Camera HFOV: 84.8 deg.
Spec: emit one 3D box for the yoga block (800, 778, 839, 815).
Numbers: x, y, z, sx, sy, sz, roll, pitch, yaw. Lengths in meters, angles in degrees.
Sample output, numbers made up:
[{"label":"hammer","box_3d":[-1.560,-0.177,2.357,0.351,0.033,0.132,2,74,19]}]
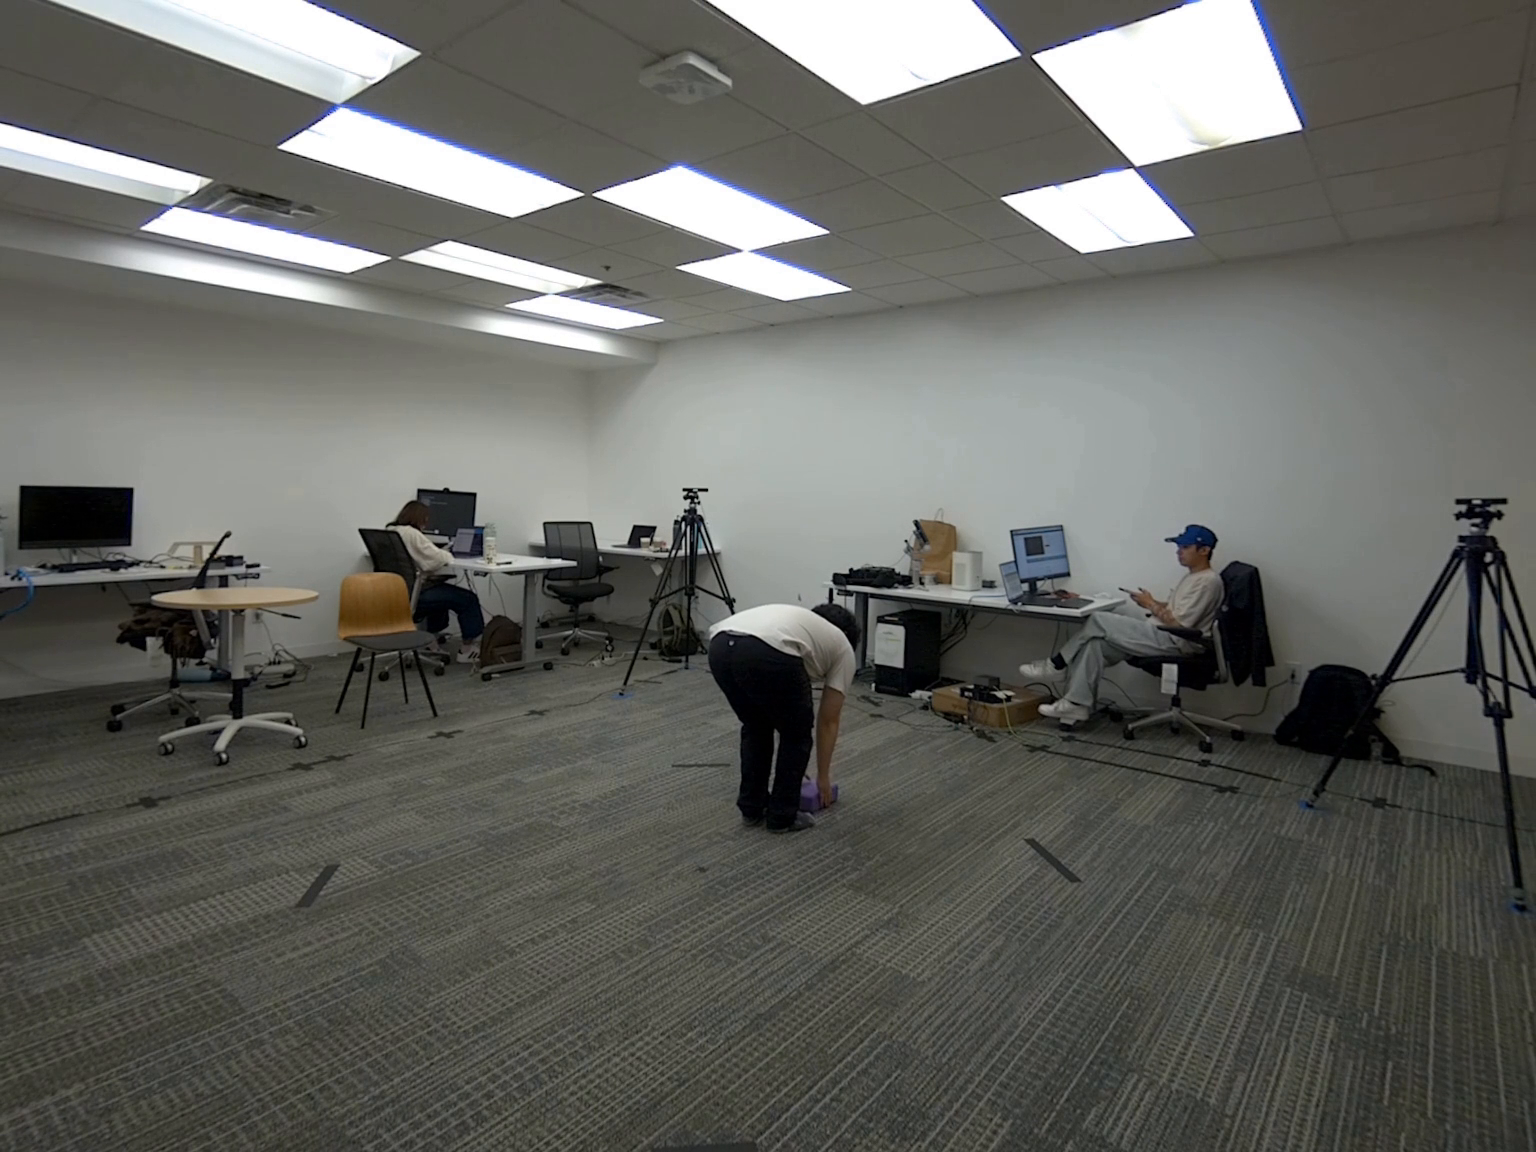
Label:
[{"label":"yoga block","box_3d":[0.185,0.969,3.792,0.154,0.076,0.222,3,4,36]}]
